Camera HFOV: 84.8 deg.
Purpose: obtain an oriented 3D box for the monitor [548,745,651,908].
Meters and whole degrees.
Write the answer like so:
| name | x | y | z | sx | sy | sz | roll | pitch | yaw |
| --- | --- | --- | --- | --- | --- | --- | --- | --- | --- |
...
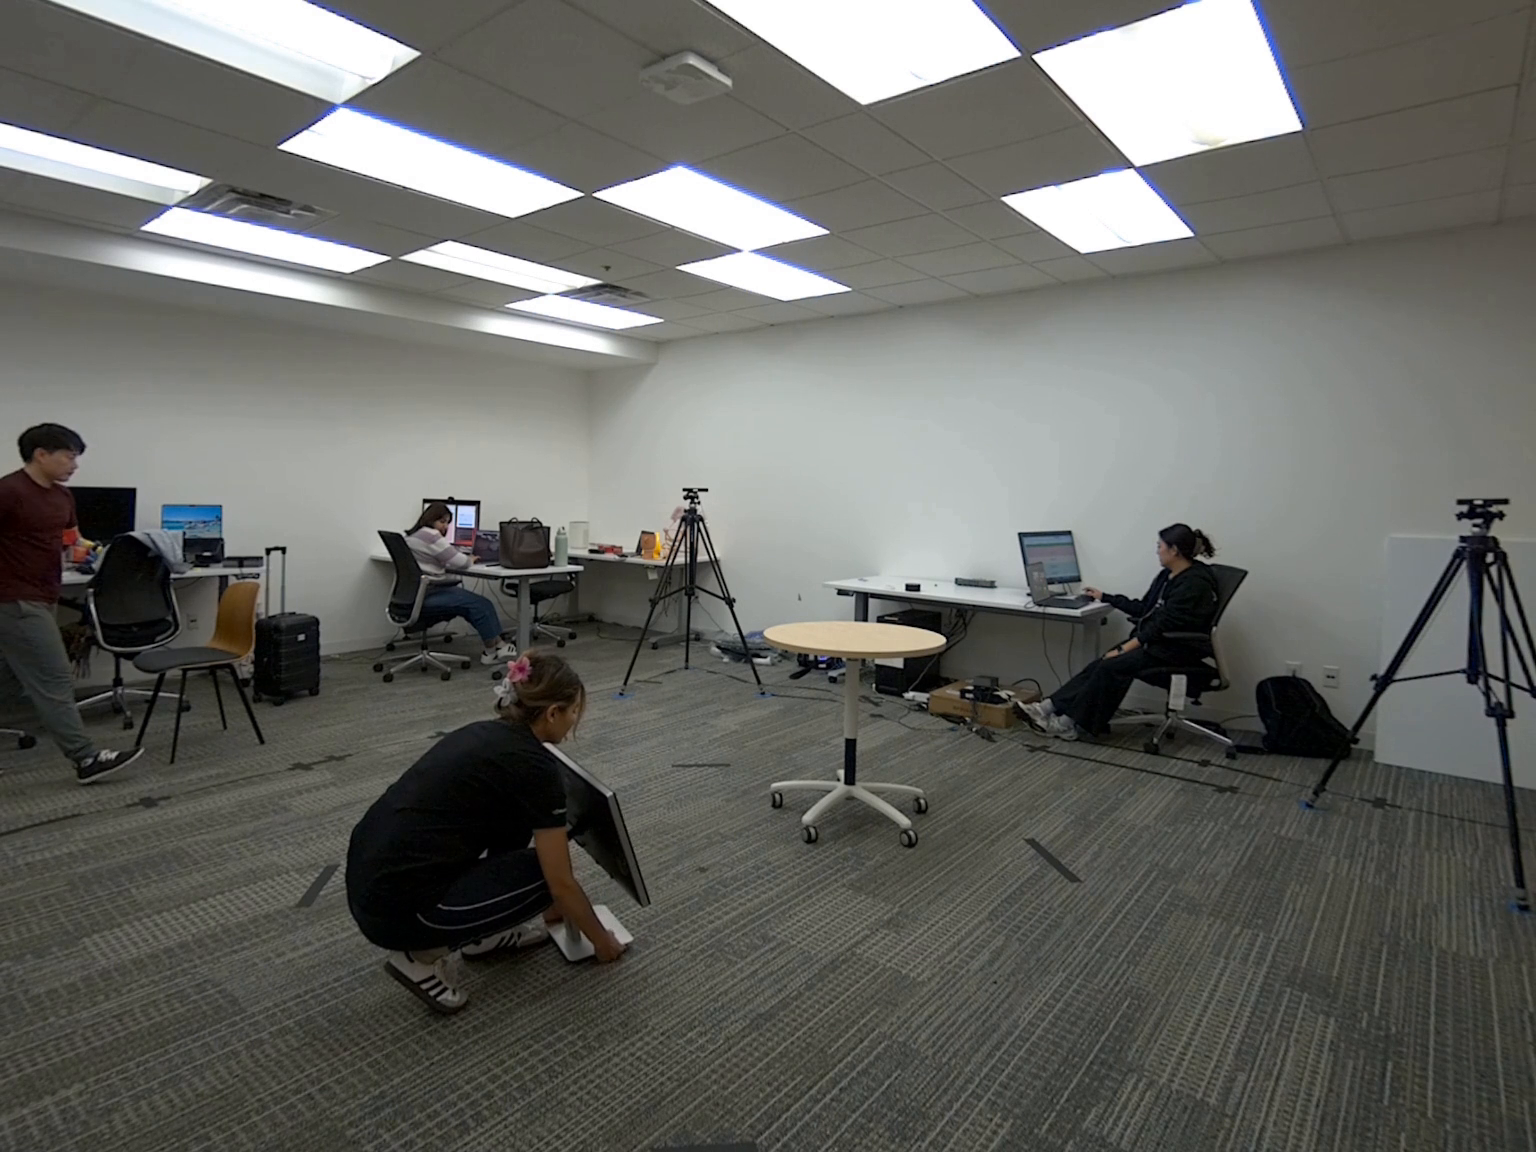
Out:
| name | x | y | z | sx | sy | sz | roll | pitch | yaw |
| --- | --- | --- | --- | --- | --- | --- | --- | --- | --- |
| monitor | -0.567 | 0.832 | 2.576 | 0.182 | 0.519 | 0.556 | -7 | 8 | -34 |
